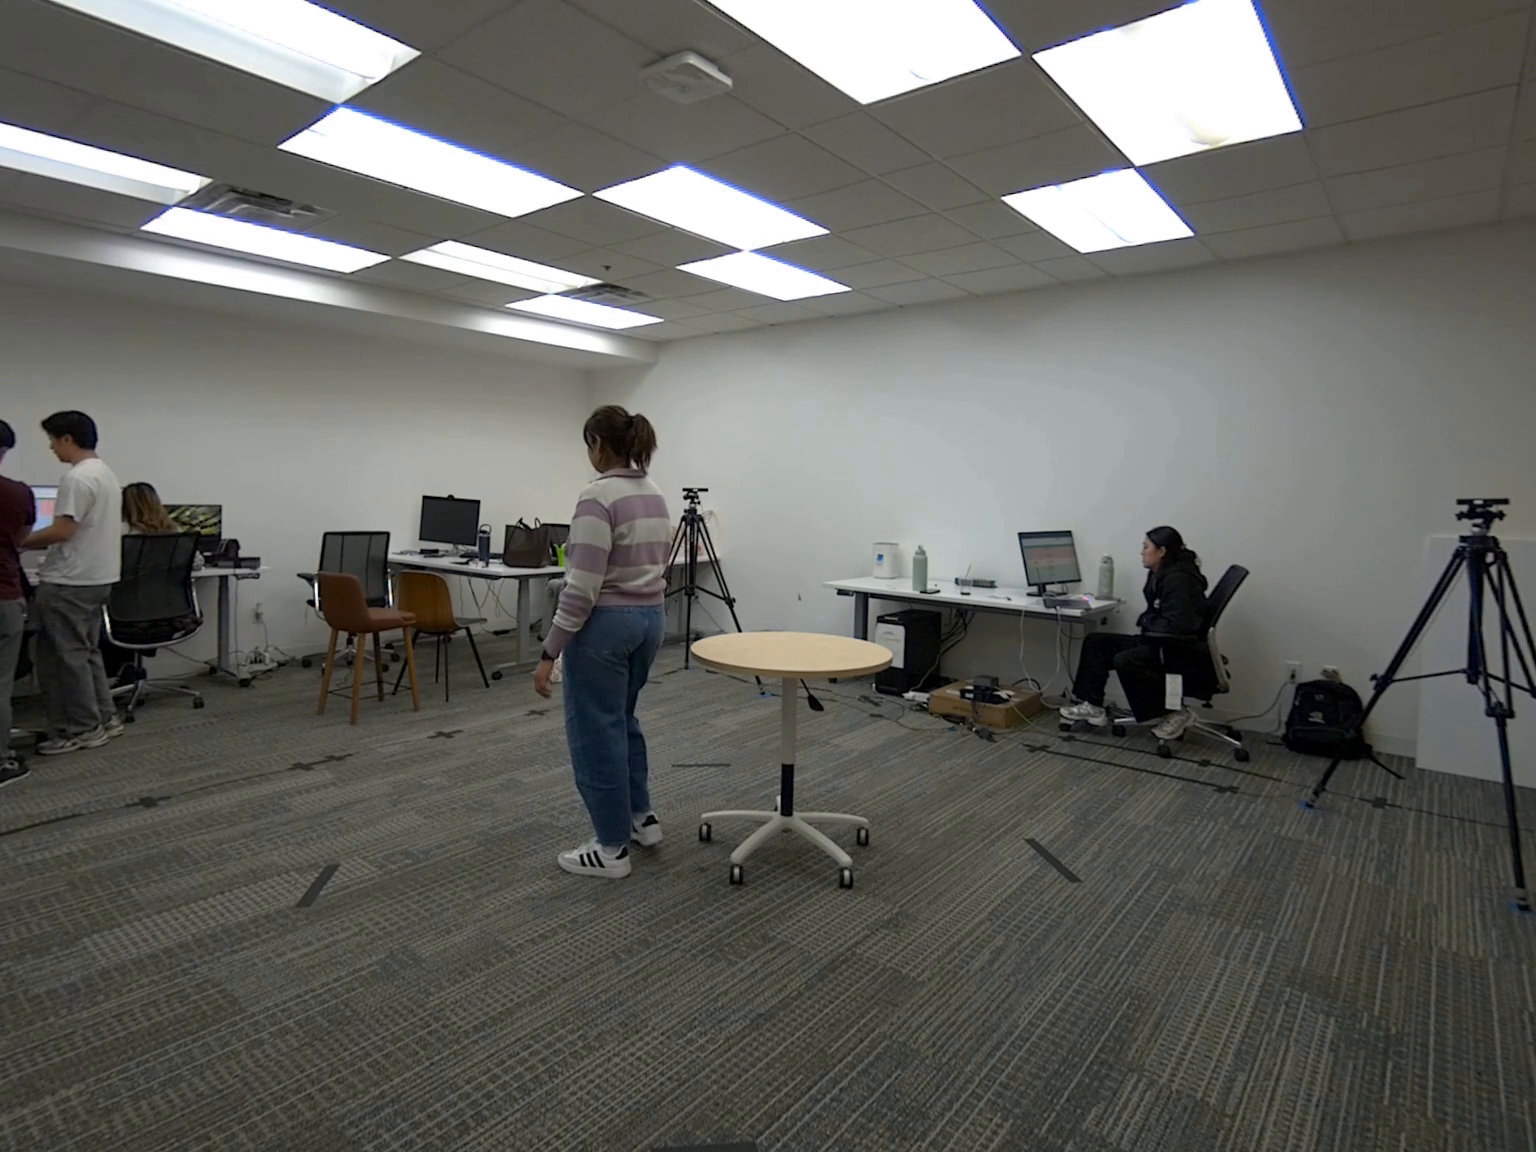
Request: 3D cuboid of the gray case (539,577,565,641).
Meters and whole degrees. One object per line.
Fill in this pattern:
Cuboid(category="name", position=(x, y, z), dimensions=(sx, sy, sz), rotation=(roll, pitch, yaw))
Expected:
Cuboid(category="gray case", position=(-0.782, 0.128, 3.380), dimensions=(0.108, 0.259, 0.250), rotation=(14, 10, 32))
